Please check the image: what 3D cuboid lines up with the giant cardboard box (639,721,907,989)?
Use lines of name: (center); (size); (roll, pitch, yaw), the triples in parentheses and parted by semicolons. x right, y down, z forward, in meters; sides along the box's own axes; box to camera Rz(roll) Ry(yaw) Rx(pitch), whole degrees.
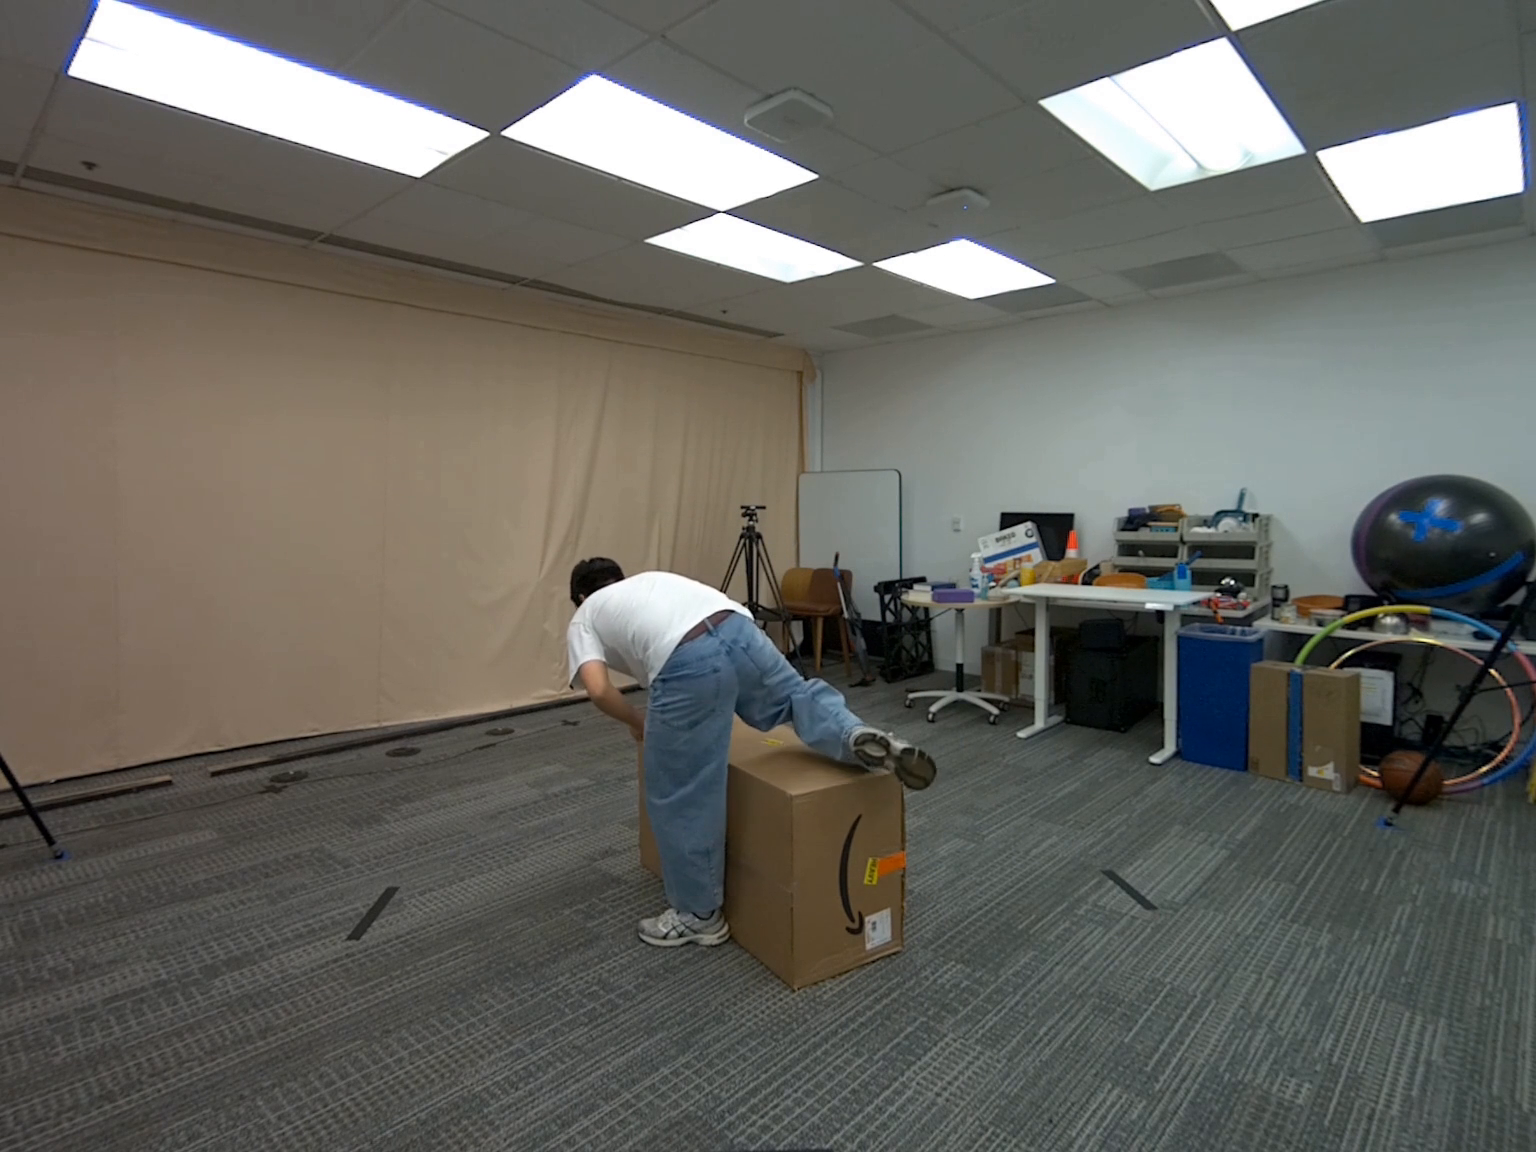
giant cardboard box: (-0.036, 0.862, 2.940); (0.414, 0.576, 1.057); (-3, 5, -32)
